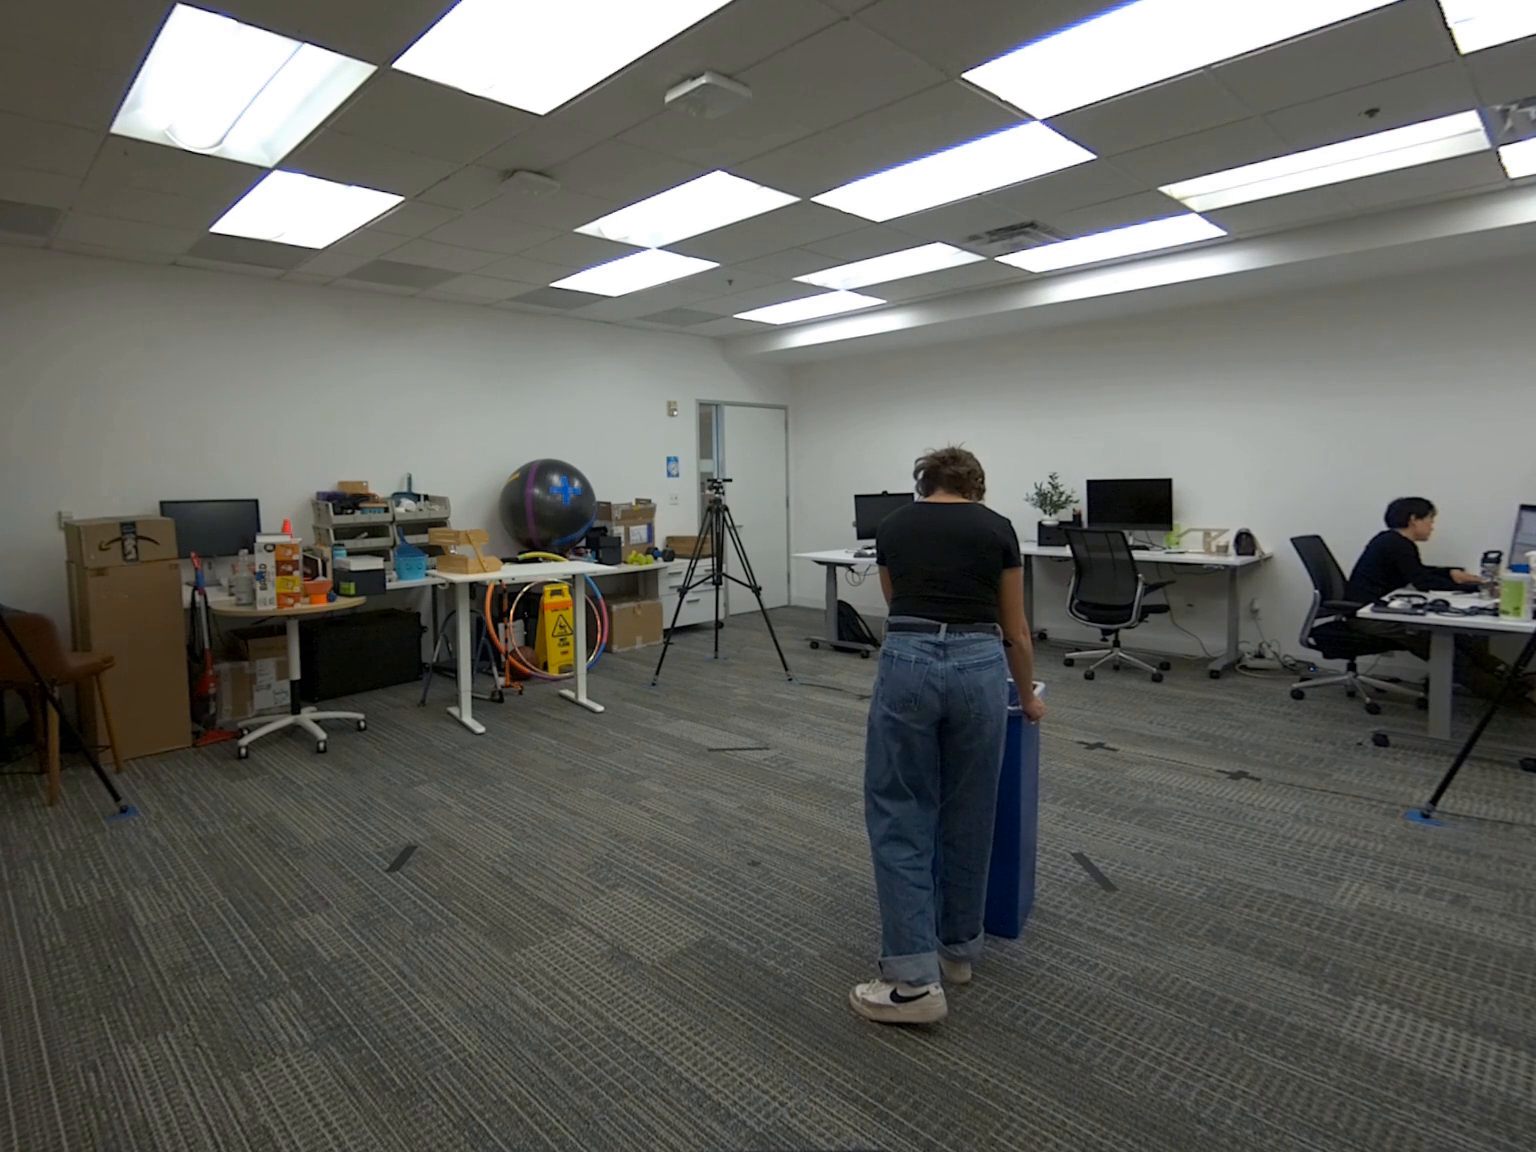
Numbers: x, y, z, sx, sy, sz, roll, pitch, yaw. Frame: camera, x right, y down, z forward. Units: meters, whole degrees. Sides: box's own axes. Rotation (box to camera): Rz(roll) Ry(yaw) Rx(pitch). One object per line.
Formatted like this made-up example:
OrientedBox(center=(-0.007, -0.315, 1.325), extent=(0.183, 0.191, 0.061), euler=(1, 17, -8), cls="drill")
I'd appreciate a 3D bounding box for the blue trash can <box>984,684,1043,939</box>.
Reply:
OrientedBox(center=(0.677, 0.717, 2.742), extent=(0.383, 0.711, 0.370), euler=(2, 5, 28), cls="blue trash can")
